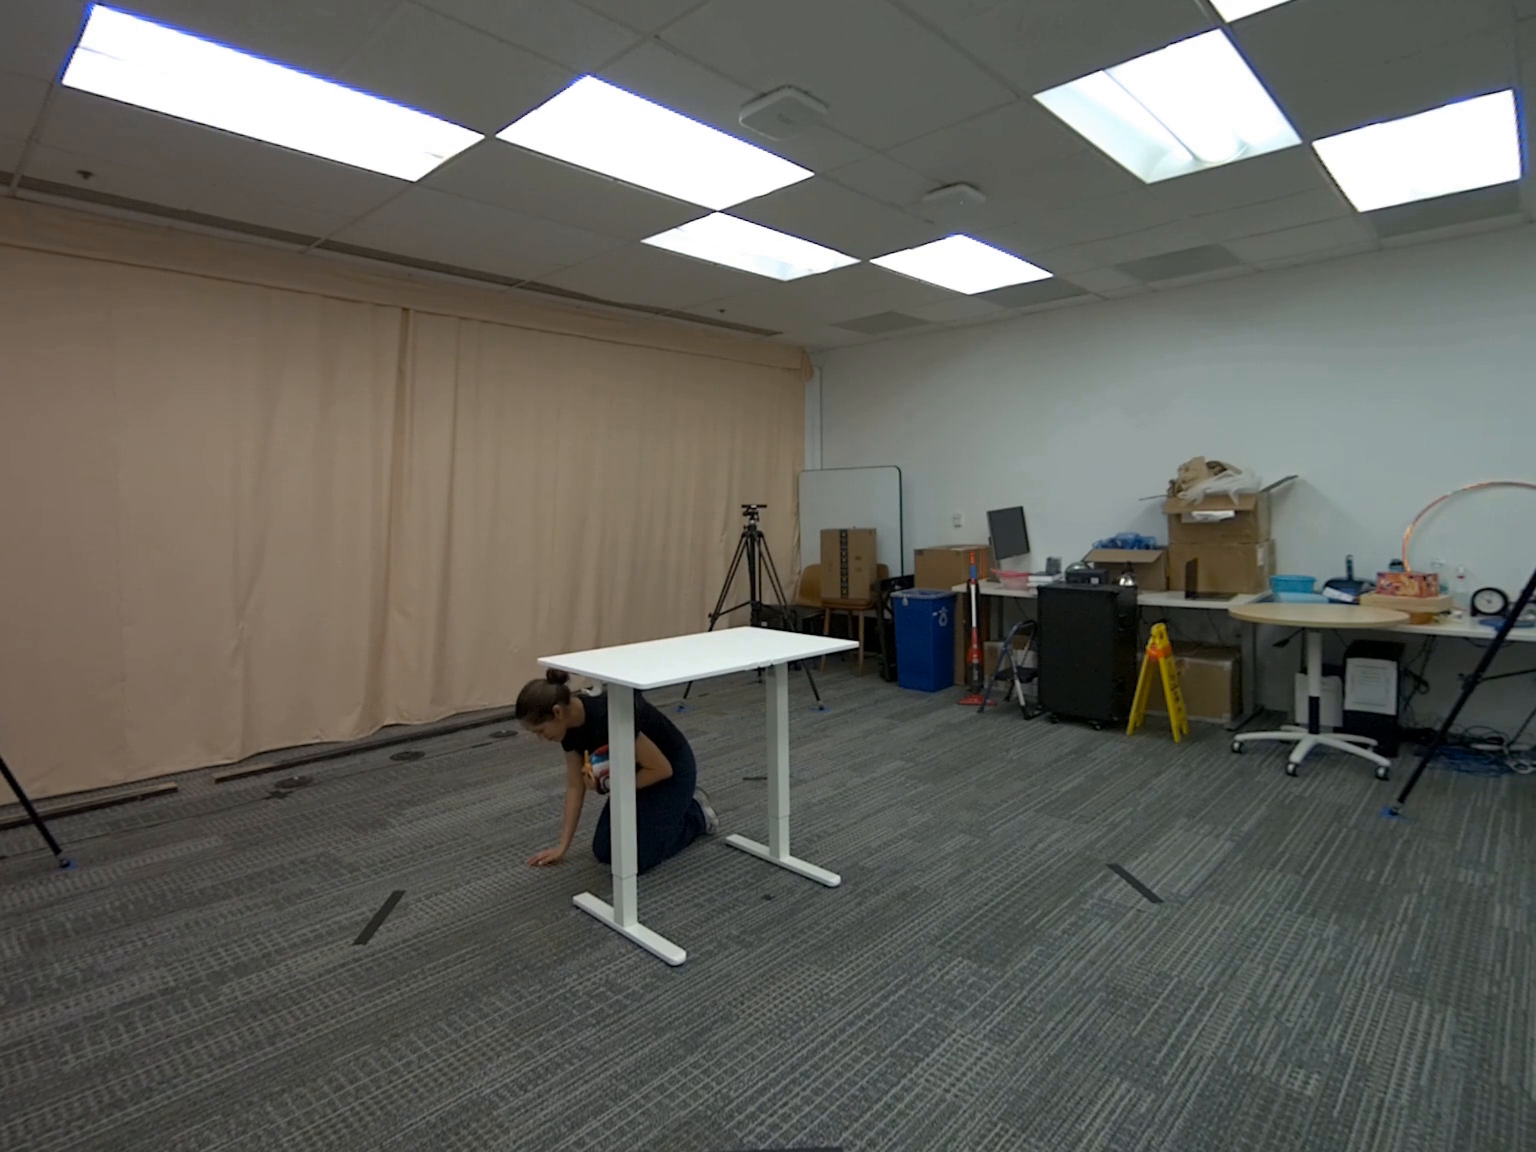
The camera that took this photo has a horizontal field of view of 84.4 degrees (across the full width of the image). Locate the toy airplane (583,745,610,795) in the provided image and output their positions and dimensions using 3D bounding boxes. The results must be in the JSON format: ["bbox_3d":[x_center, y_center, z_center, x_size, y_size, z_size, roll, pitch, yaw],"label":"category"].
[{"bbox_3d":[-0.561,0.701,3.155,0.254,0.158,0.253,-33,-11,27],"label":"toy airplane"}]
